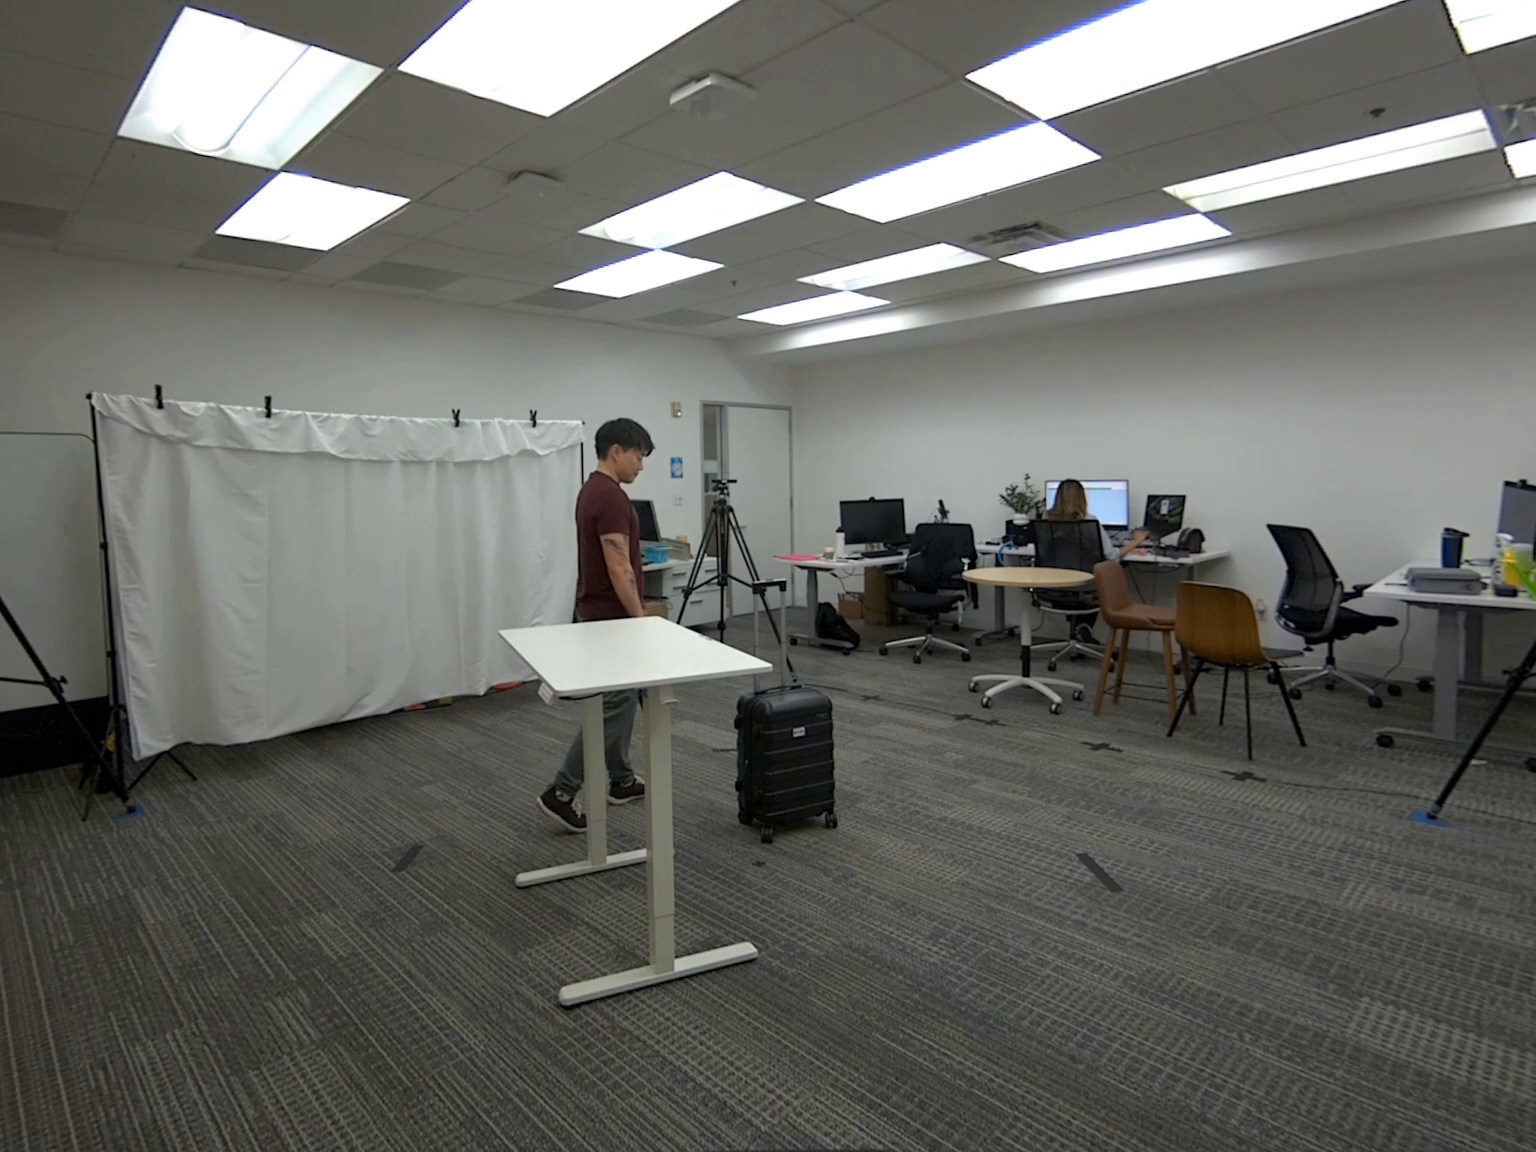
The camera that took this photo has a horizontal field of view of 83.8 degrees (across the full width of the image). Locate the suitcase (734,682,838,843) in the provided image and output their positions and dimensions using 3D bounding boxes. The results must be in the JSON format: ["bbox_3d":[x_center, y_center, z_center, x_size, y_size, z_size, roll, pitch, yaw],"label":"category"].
[{"bbox_3d":[0.074,0.531,3.443,0.376,0.975,0.263,-2,4,-26],"label":"suitcase"}]
